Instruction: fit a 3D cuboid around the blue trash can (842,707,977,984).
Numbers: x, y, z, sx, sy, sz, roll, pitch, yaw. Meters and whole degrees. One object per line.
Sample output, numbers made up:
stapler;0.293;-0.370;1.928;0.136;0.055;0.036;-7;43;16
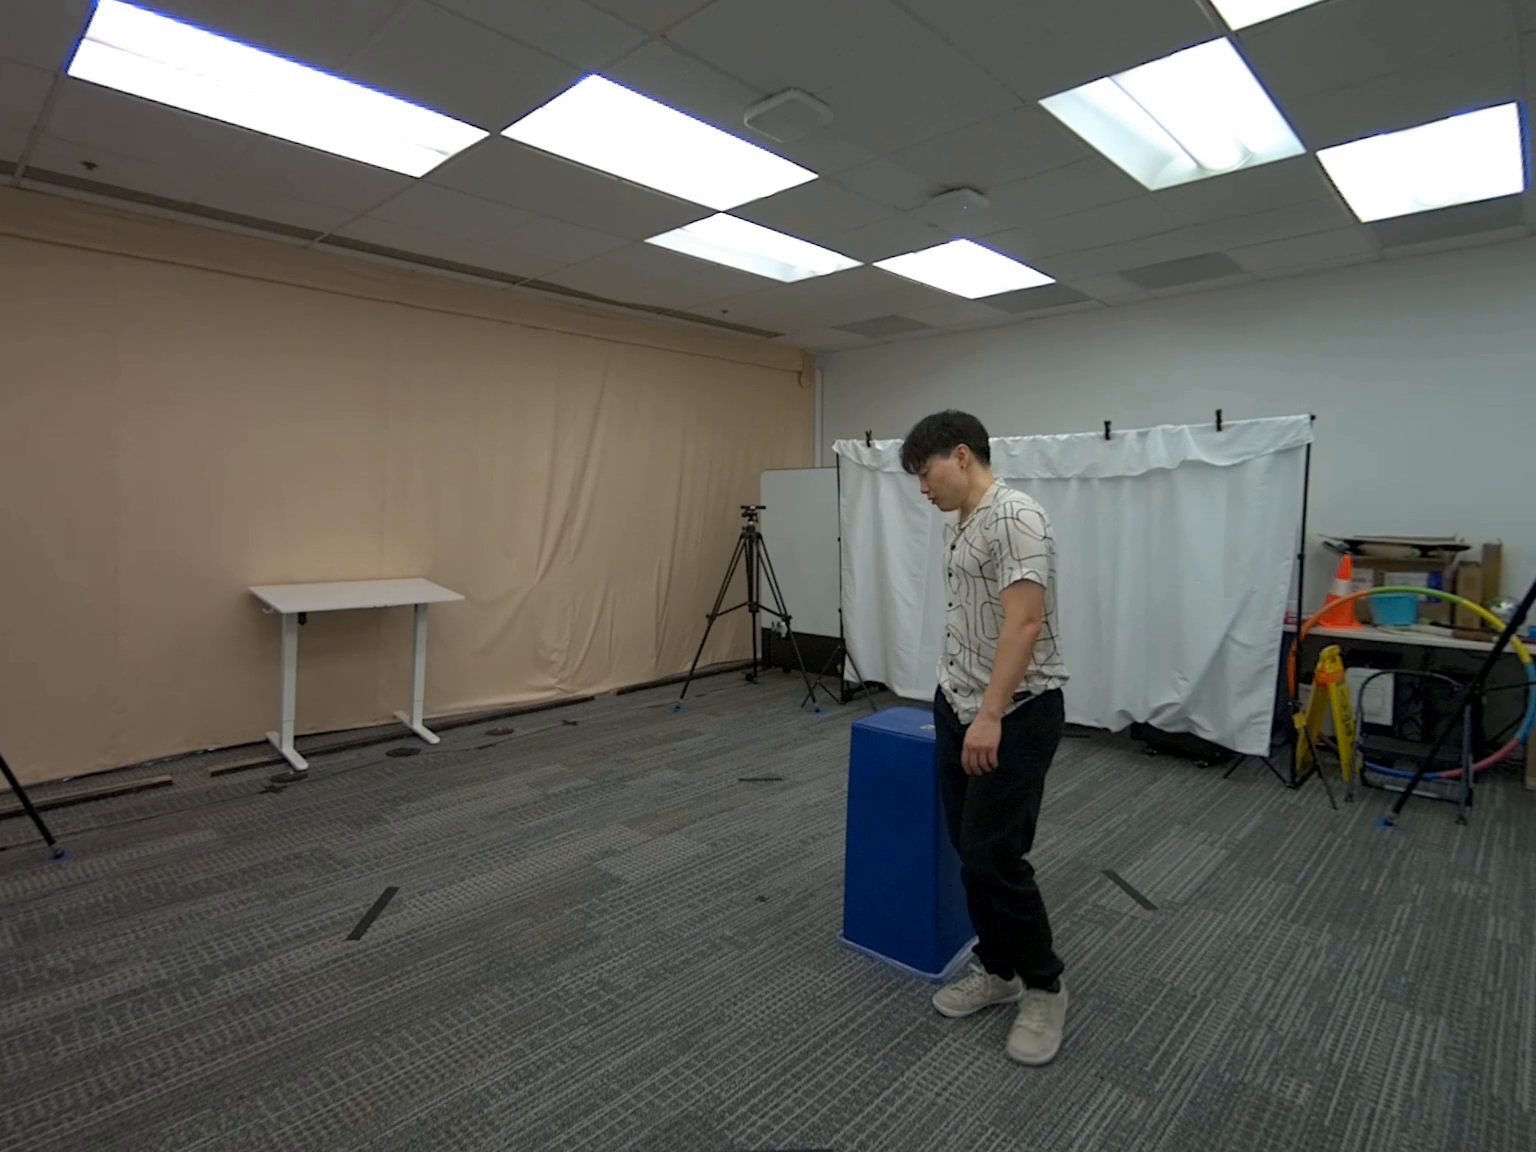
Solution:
blue trash can;0.475;0.816;2.668;0.386;0.711;0.367;4;6;41
